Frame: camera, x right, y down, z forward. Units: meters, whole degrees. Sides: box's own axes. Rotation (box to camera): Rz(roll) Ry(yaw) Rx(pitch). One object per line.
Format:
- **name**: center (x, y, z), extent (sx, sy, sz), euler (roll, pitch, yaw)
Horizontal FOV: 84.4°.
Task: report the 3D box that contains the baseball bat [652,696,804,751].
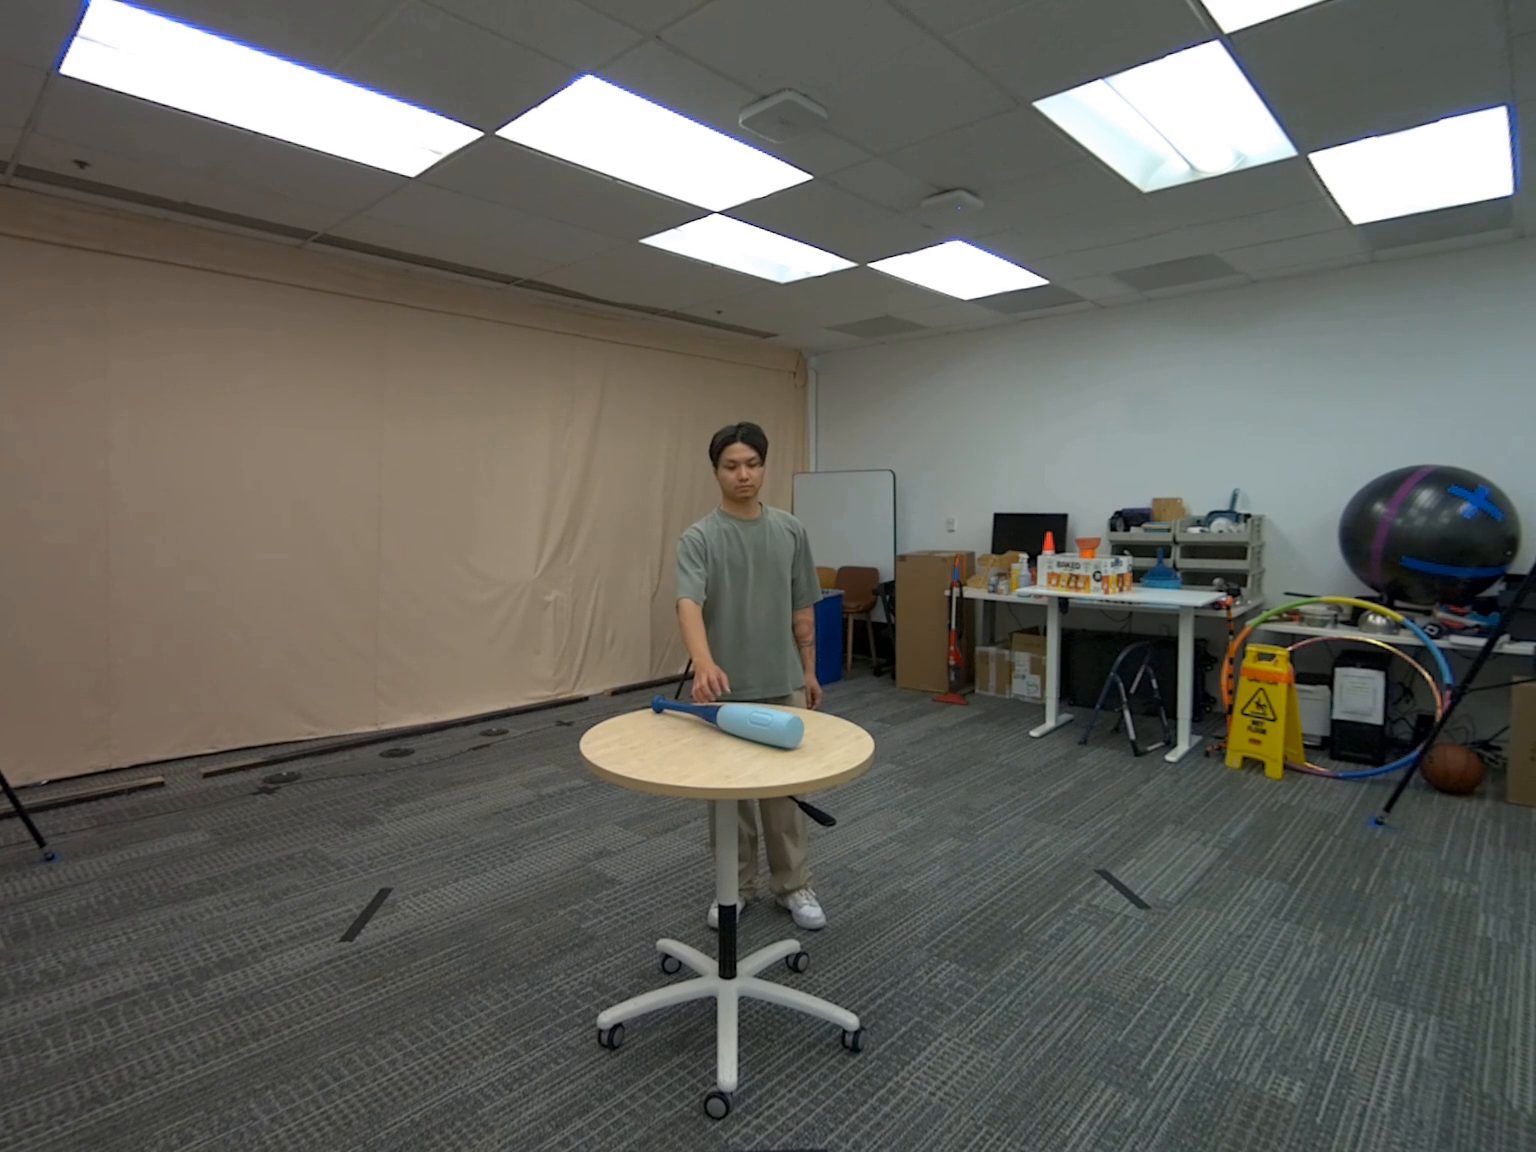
- **baseball bat**: center (-0.127, 0.380, 2.291), extent (0.561, 0.089, 0.086), euler (2, 4, 45)
